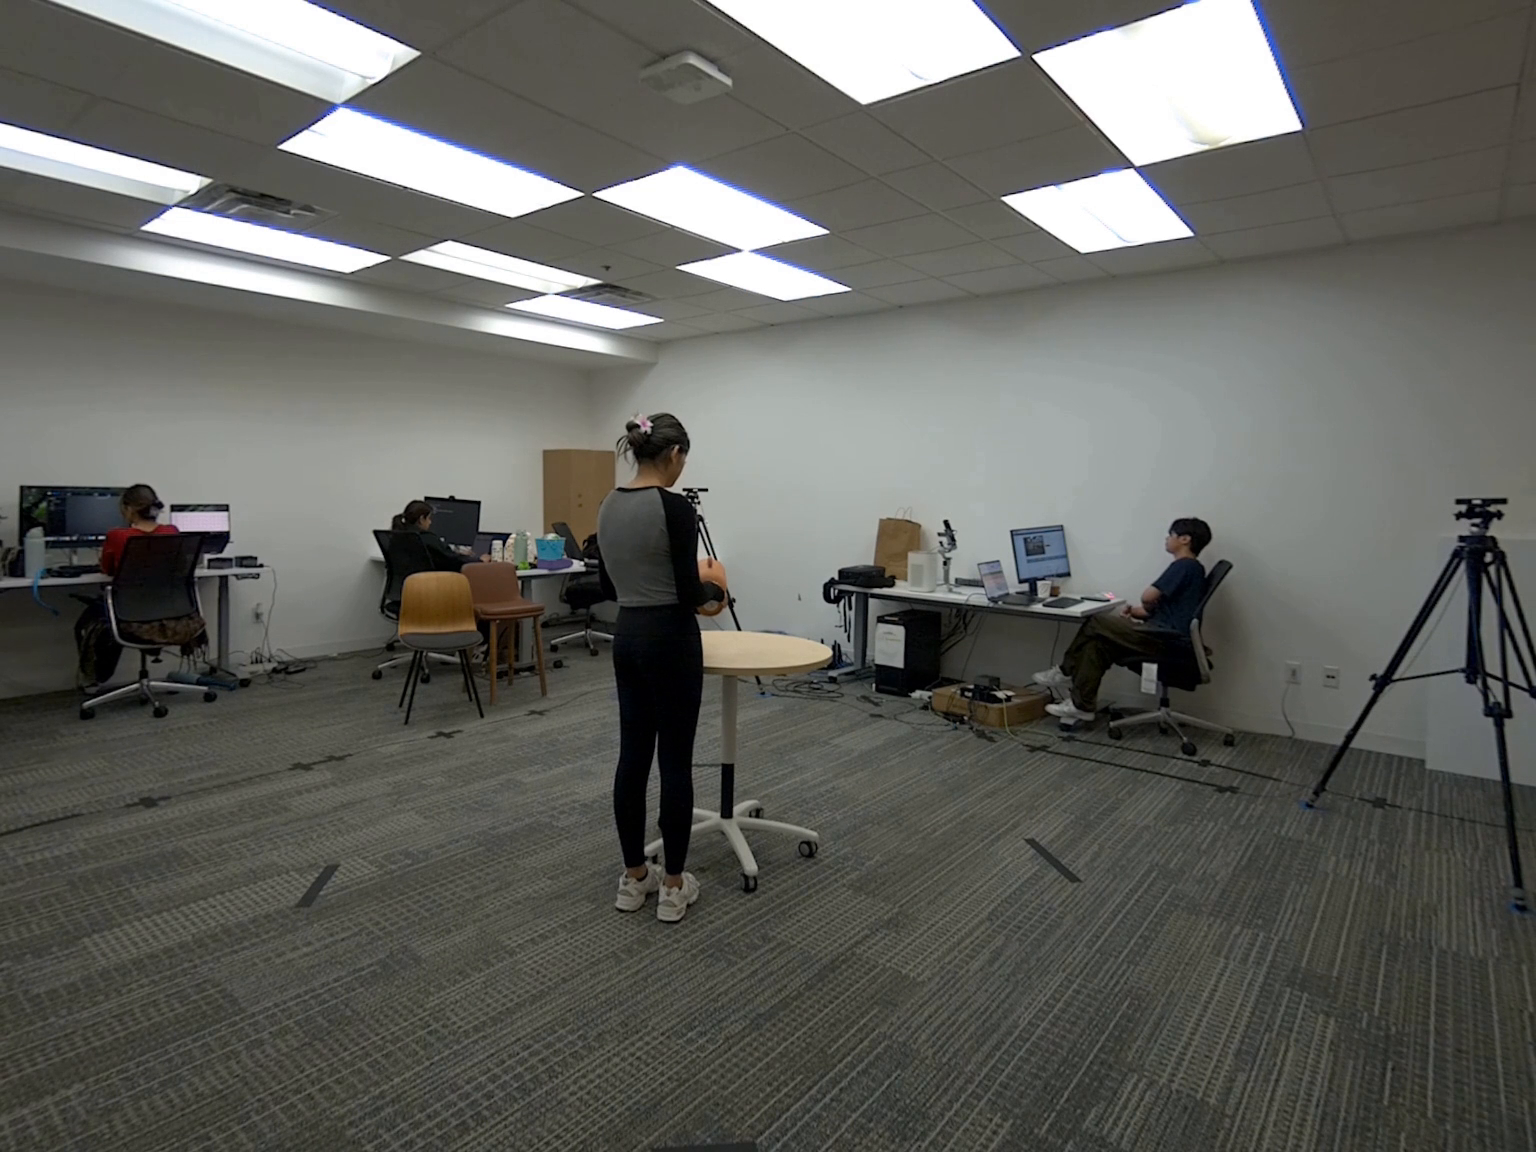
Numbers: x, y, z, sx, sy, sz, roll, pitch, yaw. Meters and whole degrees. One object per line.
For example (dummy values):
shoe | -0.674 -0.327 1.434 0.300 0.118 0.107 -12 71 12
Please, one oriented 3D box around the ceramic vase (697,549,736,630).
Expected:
ceramic vase | -0.225 0.044 3.066 0.135 0.154 0.226 -32 27 13
